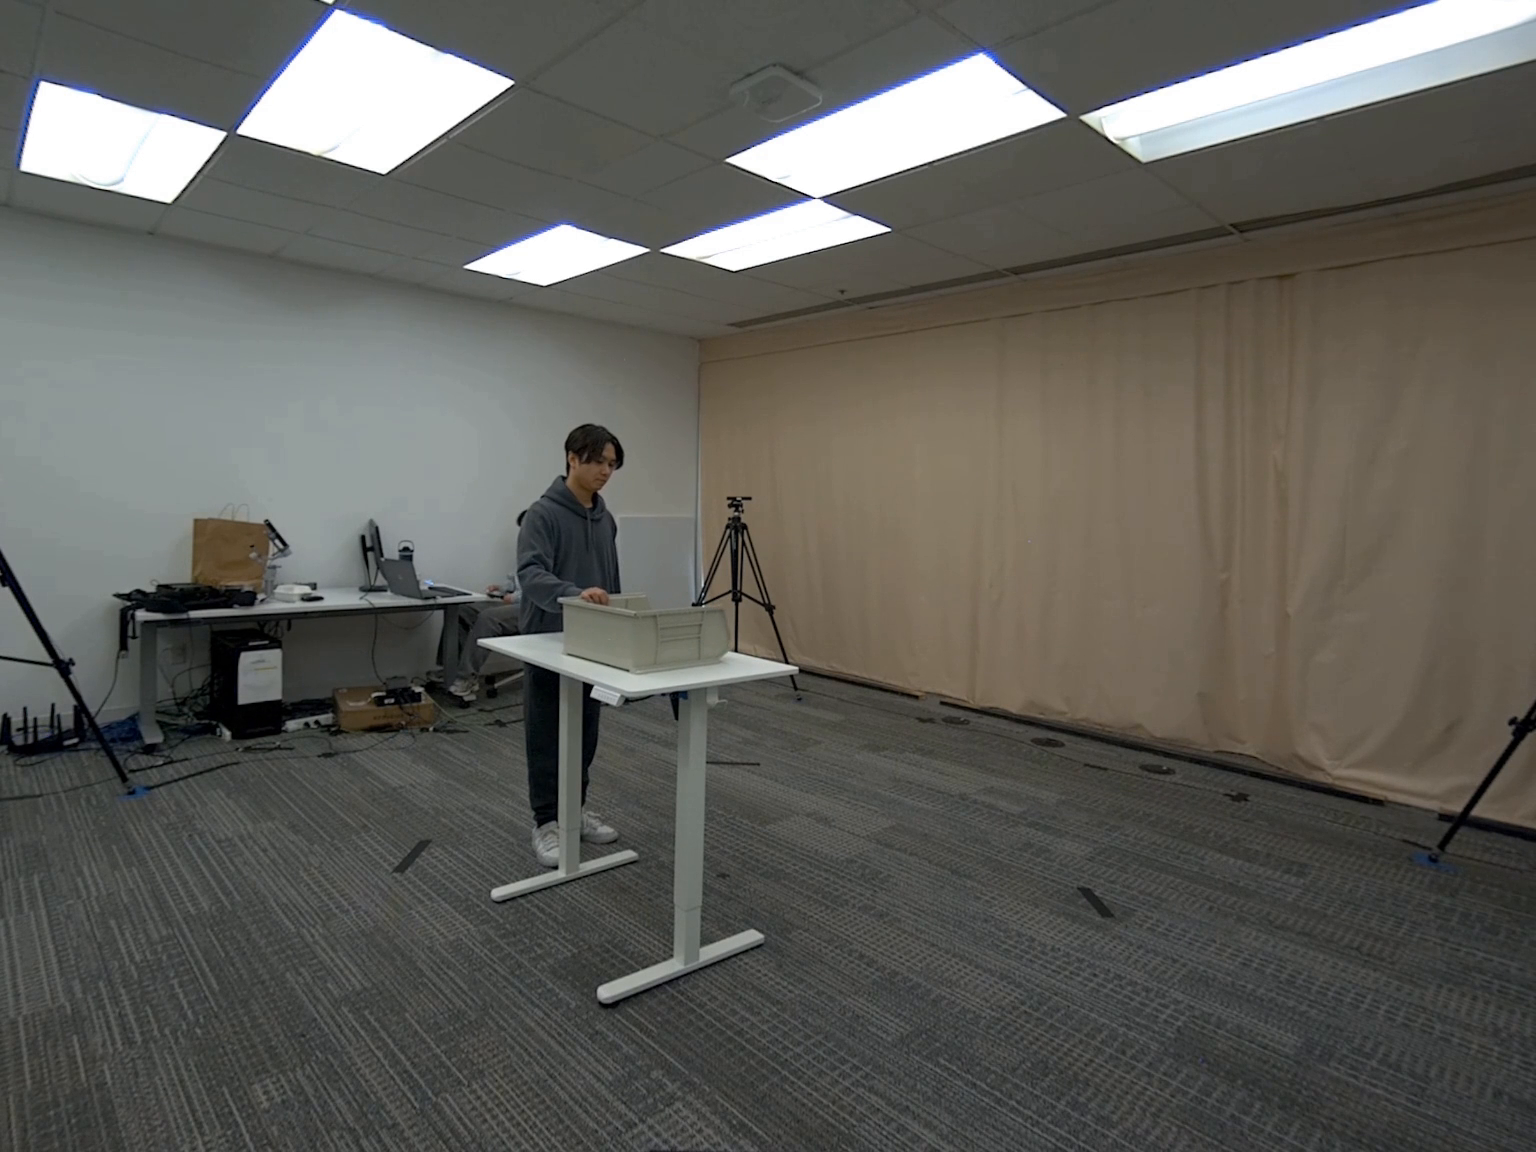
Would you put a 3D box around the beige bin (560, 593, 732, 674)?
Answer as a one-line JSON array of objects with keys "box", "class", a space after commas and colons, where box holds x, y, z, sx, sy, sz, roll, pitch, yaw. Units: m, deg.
[{"box": [-0.391, 0.172, 2.634, 0.369, 0.188, 0.433, -3, 7, -43], "class": "beige bin"}]
